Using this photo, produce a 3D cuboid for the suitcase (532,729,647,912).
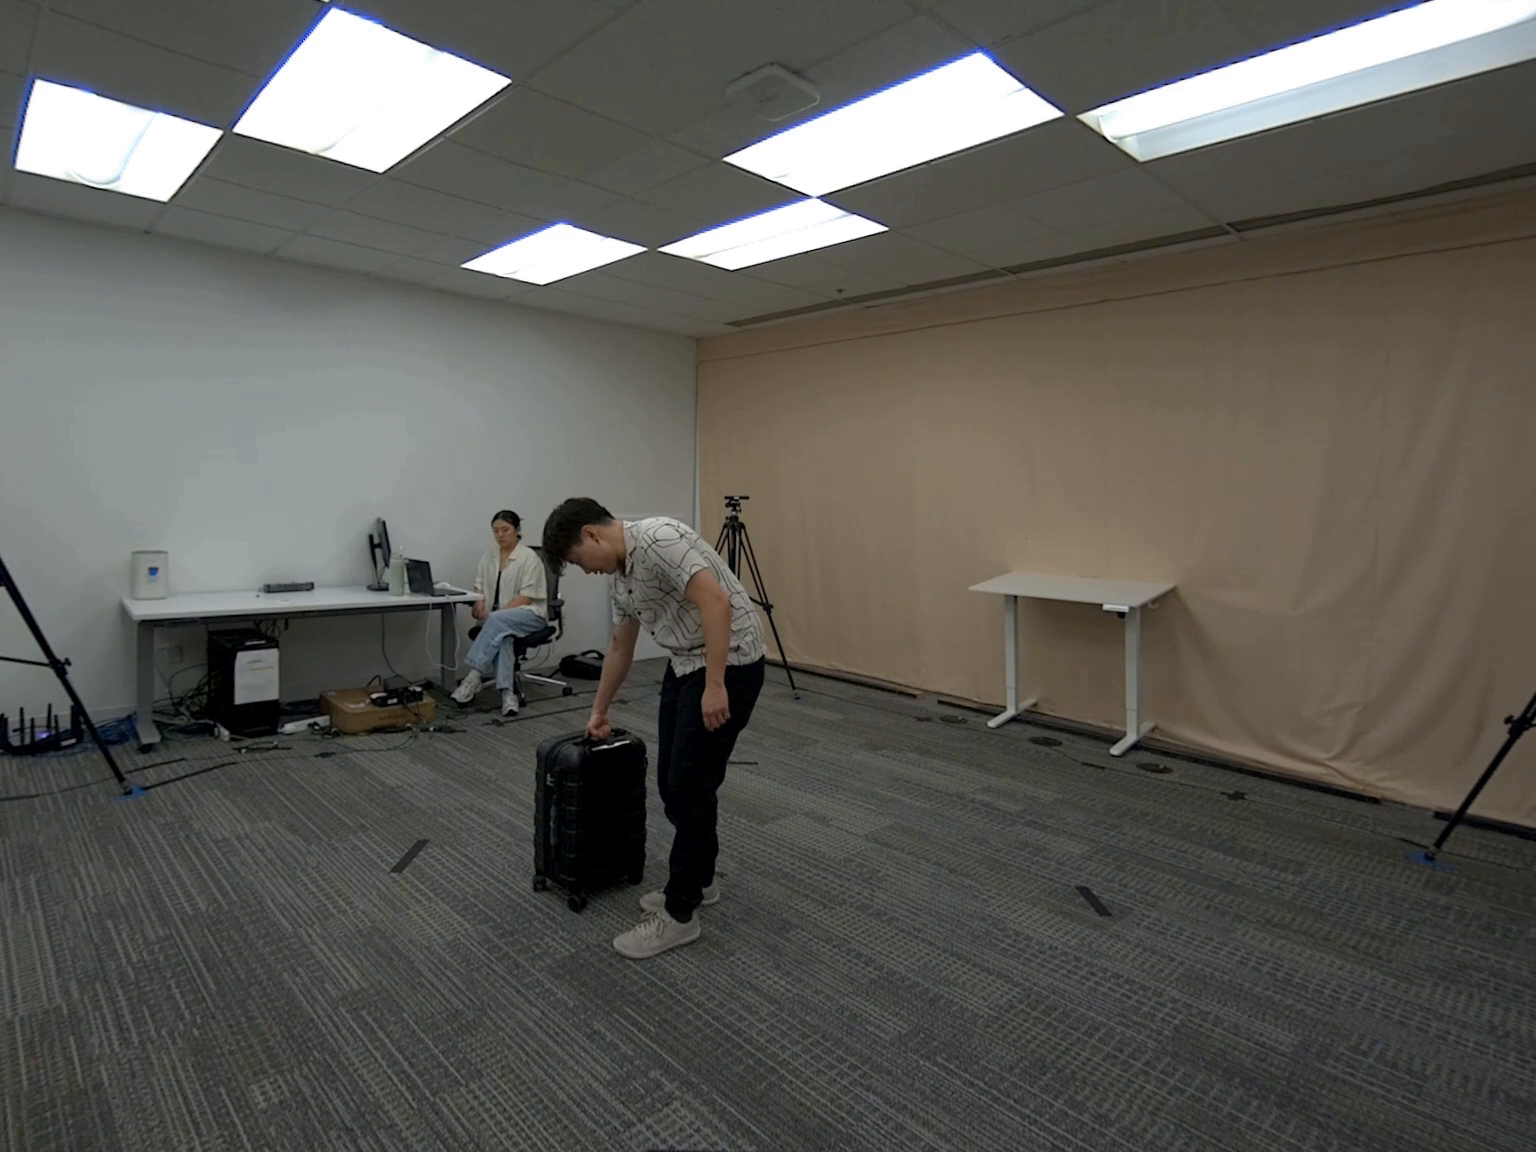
[{"bbox_3d":[-0.638,0.825,2.992,0.254,0.548,0.367,4,4,45],"label":"suitcase"}]
